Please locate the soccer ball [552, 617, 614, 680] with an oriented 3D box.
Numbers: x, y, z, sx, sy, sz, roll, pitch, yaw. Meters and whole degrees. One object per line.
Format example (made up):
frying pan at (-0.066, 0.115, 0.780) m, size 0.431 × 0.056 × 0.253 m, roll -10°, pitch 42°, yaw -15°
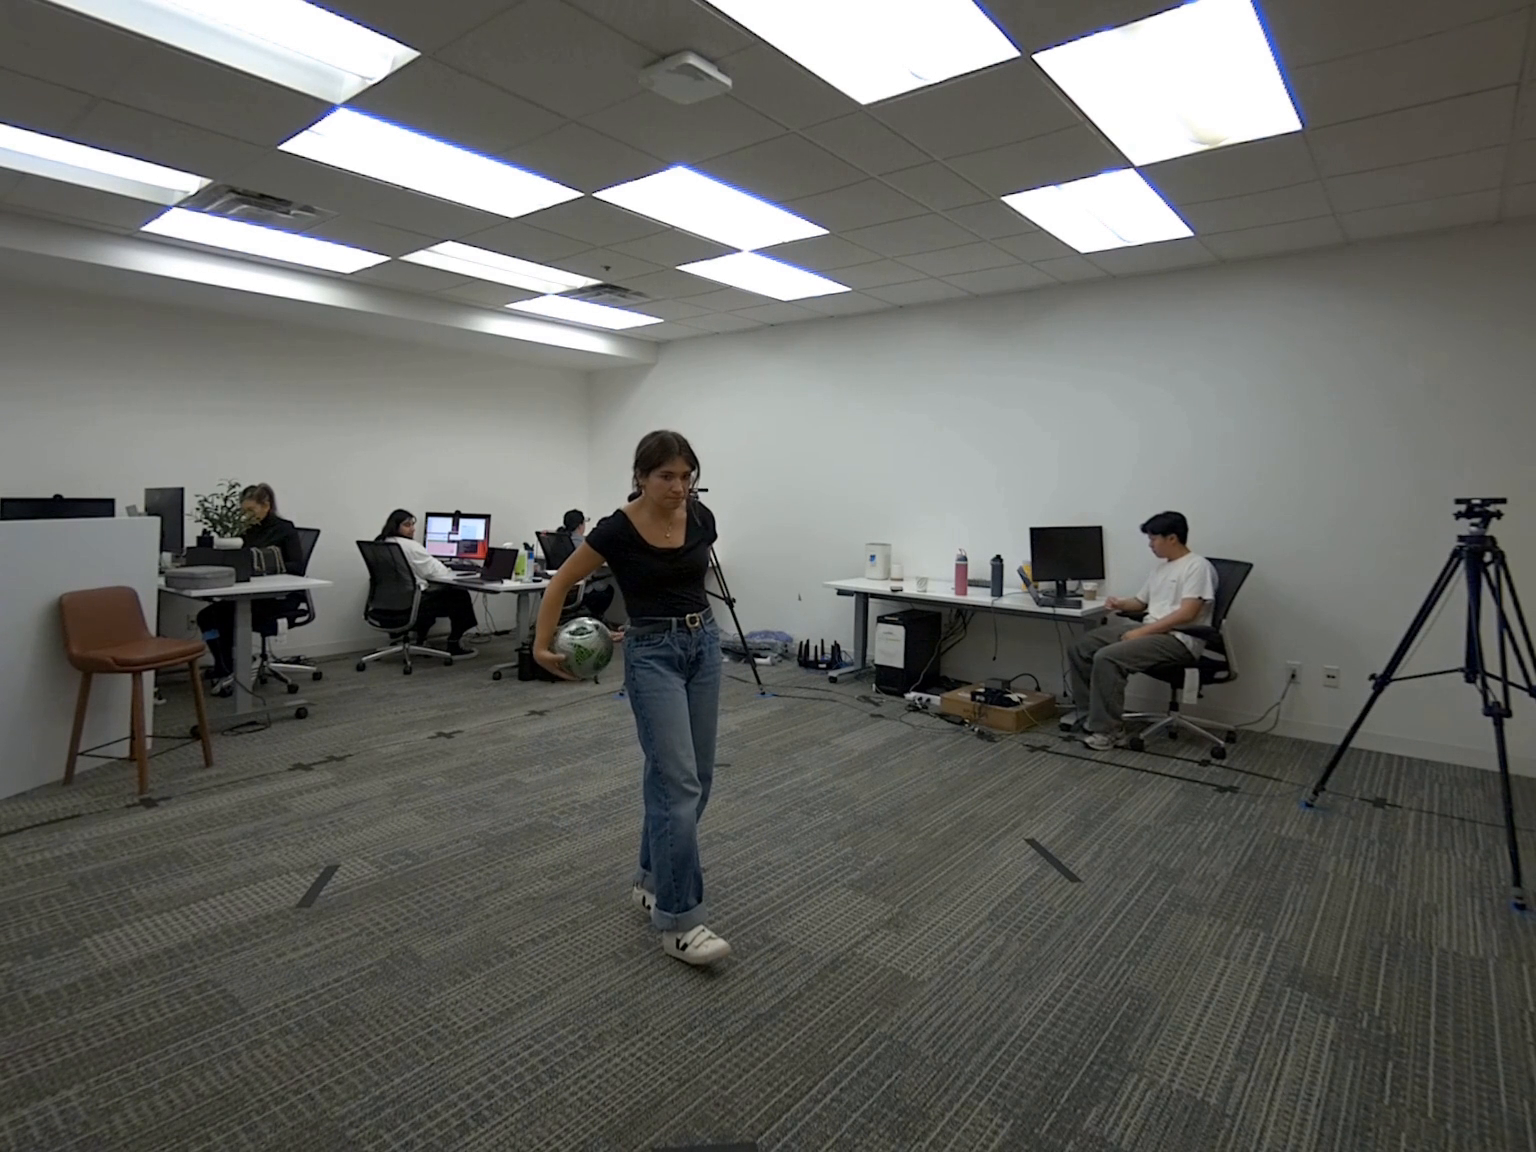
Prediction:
soccer ball at (-0.568, 0.223, 2.658) m, size 0.187 × 0.187 × 0.188 m, roll 1°, pitch 4°, yaw -2°
